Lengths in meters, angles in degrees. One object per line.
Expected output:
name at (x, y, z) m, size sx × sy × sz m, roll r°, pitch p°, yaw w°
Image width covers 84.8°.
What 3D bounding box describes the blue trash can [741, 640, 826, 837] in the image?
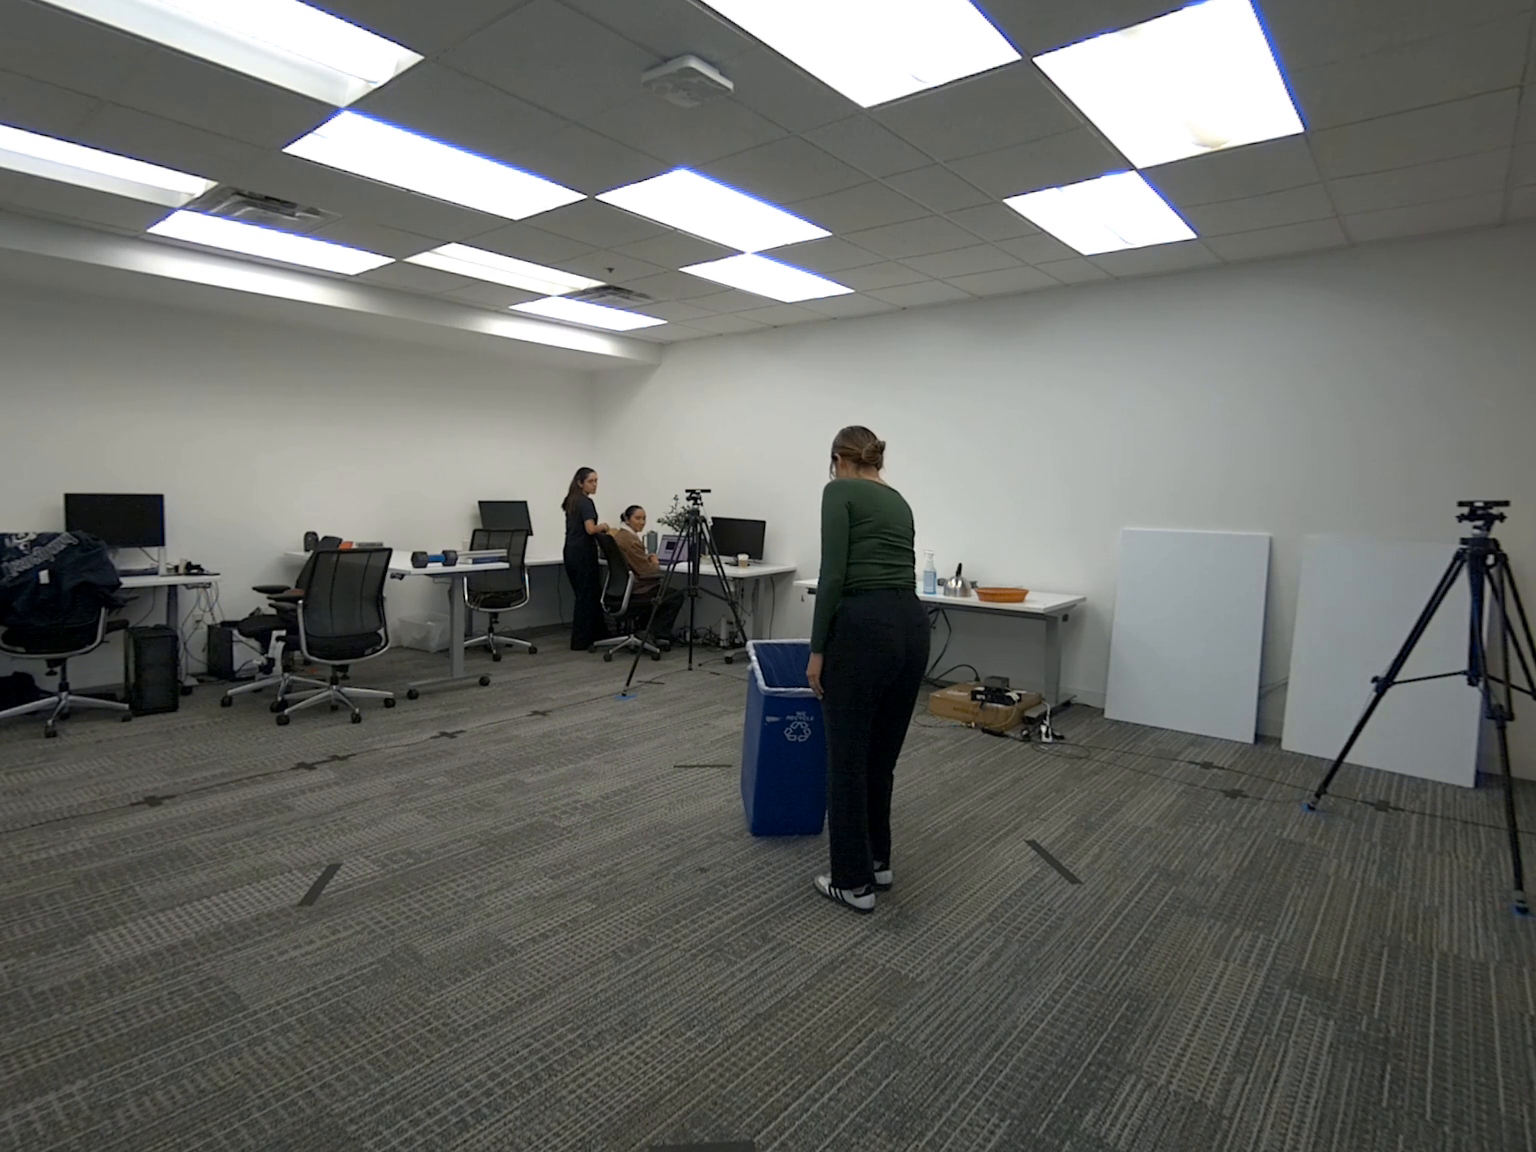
blue trash can at (0.074, 0.663, 3.450) m, size 0.374 × 0.700 × 0.385 m, roll 2°, pitch 24°, yaw -11°
